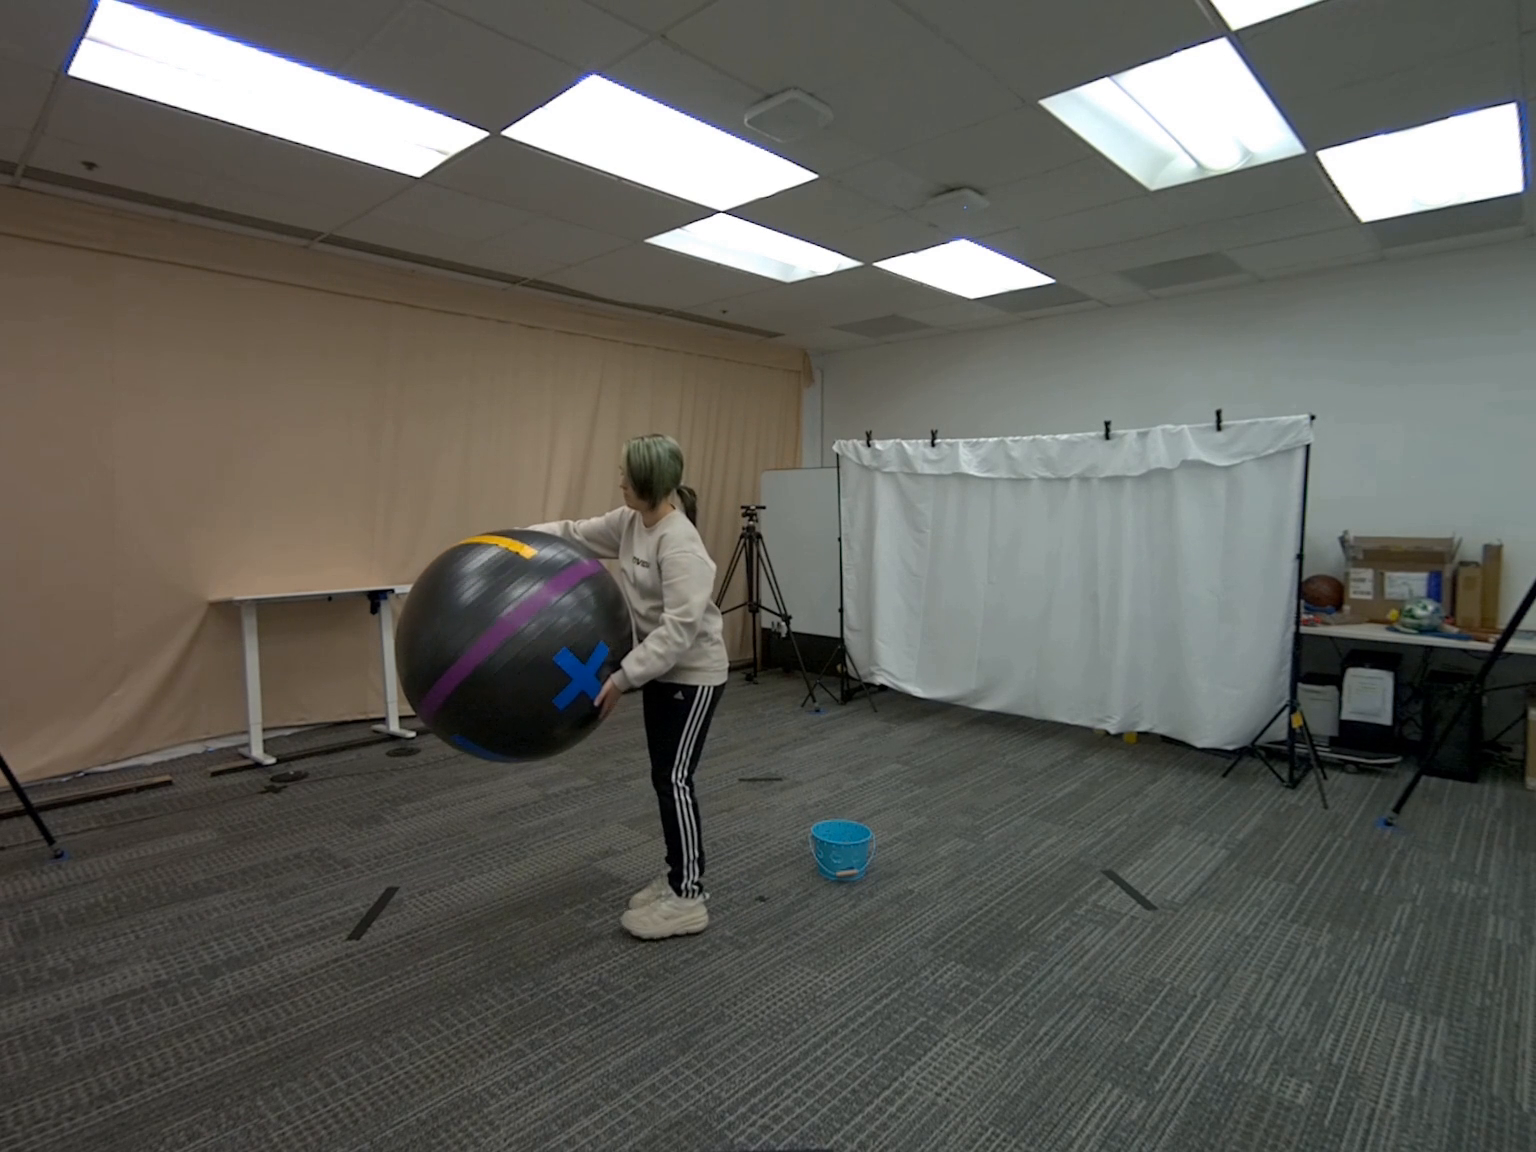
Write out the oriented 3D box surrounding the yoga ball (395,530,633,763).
[{"bbox_3d":[-0.831,0.231,2.760,0.757,0.756,0.761,0,4,-2],"label":"yoga ball"}]
